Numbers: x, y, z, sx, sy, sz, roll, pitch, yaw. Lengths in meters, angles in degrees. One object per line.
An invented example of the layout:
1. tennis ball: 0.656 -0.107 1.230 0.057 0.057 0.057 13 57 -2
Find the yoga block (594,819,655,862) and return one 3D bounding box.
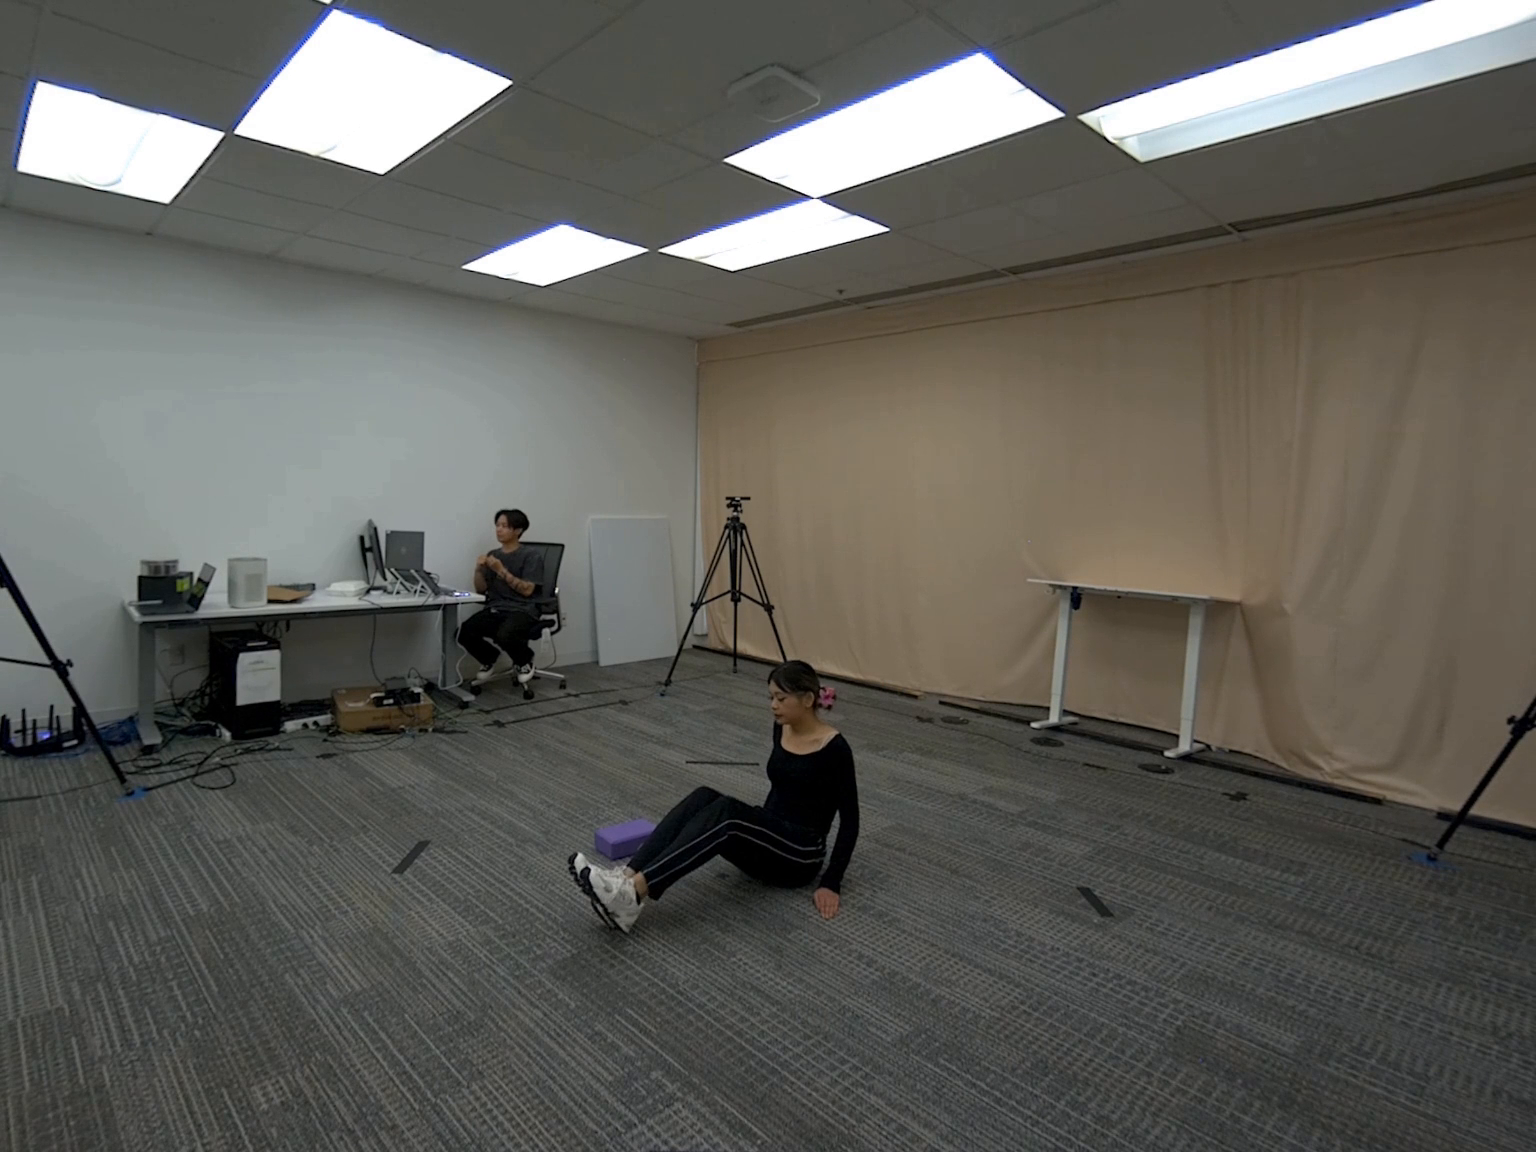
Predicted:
1. yoga block: -0.553 1.028 3.323 0.224 0.076 0.153 -4 7 -39
